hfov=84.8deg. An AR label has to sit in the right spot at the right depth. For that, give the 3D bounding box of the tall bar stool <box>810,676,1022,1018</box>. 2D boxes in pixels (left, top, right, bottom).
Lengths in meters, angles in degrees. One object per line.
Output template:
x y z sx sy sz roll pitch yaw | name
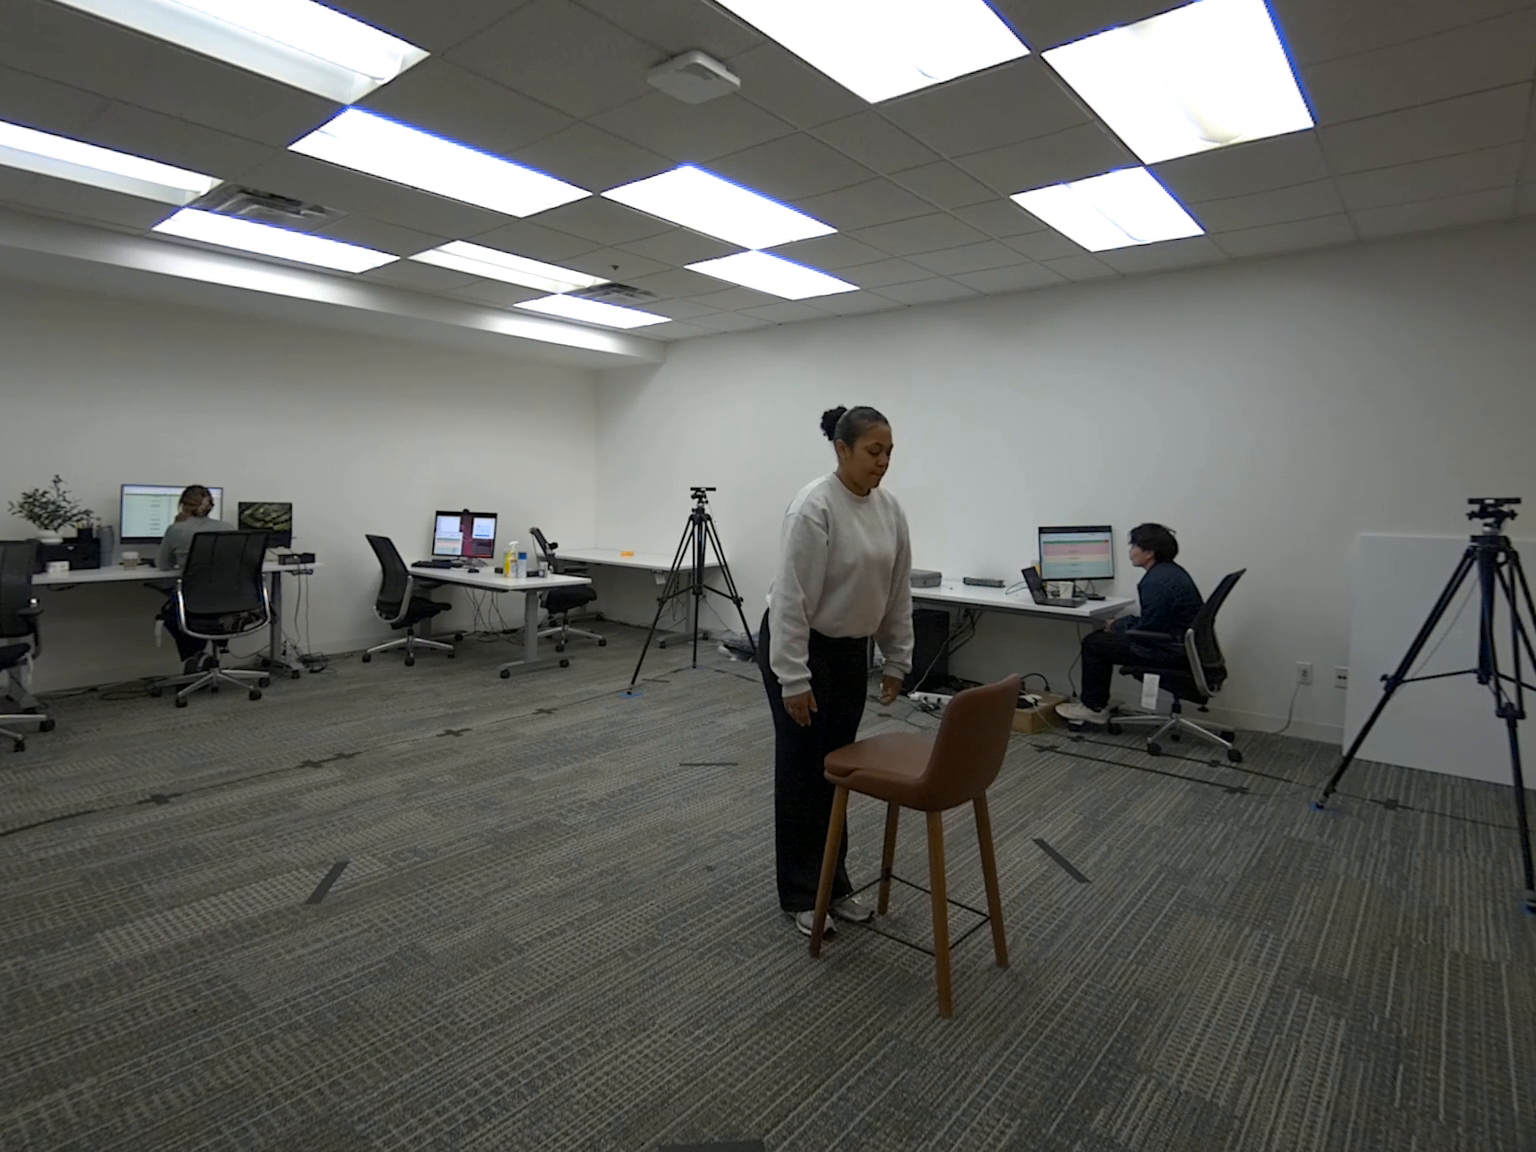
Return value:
0.434 0.698 2.511 0.484 0.886 0.442 7 5 41 | tall bar stool
